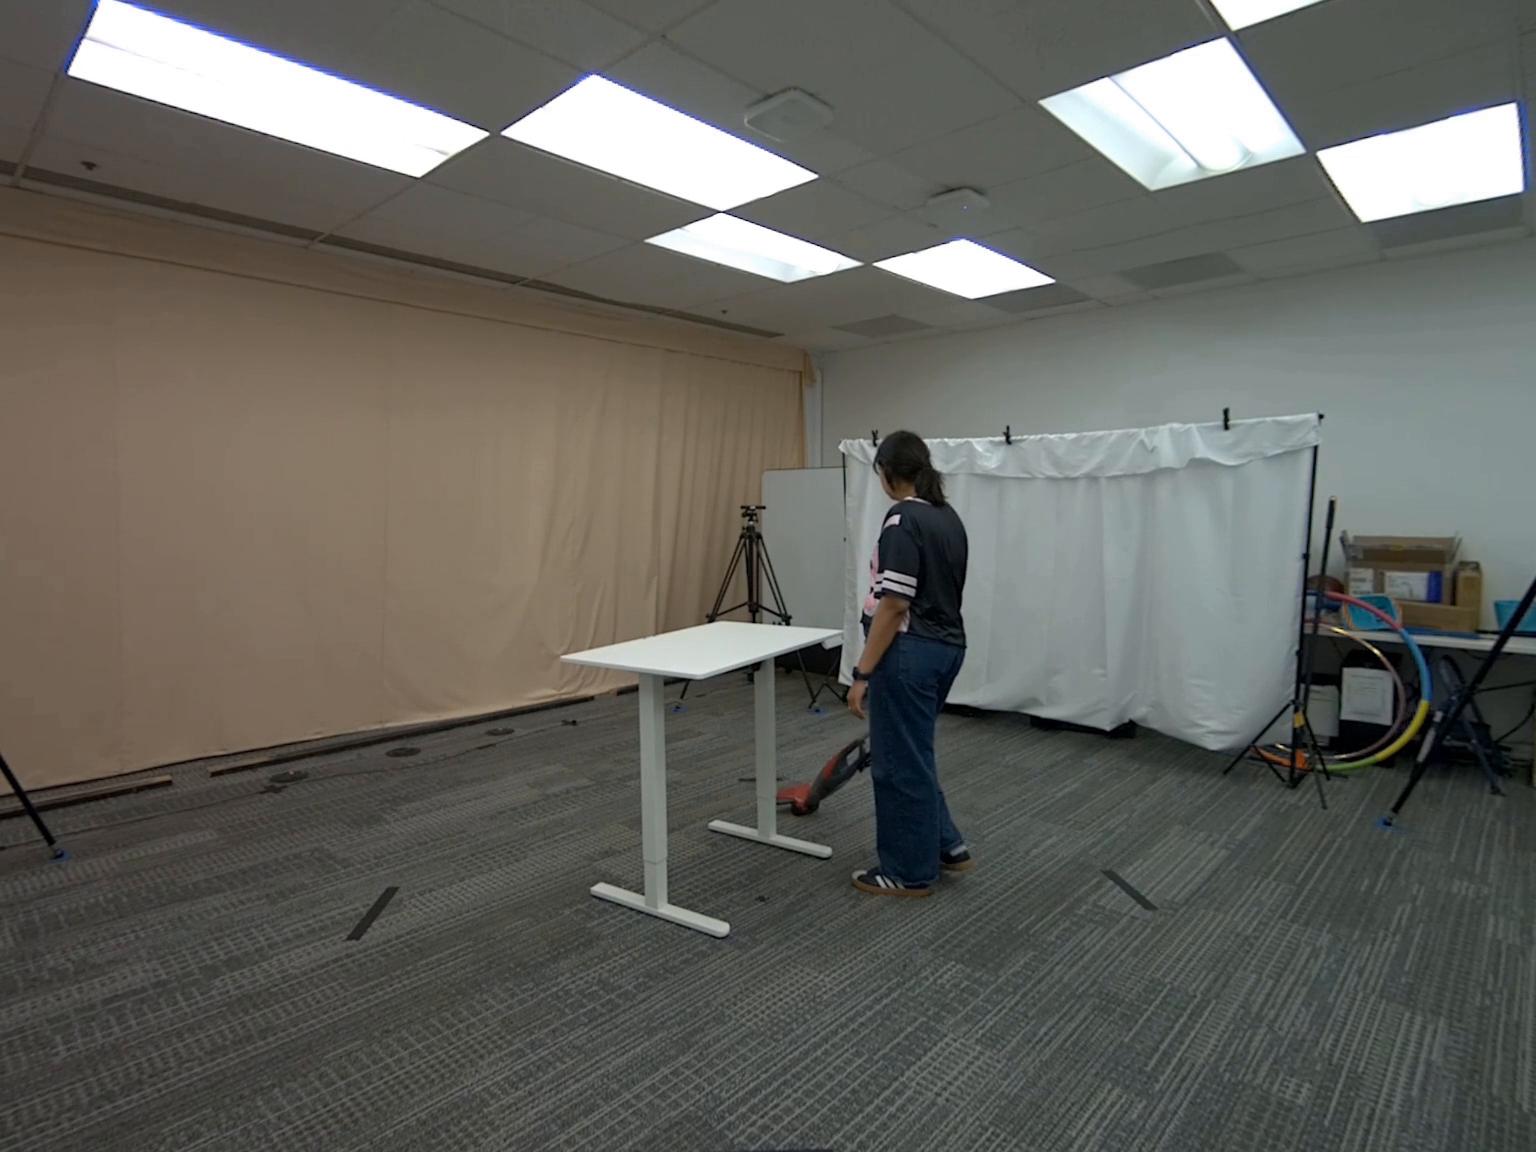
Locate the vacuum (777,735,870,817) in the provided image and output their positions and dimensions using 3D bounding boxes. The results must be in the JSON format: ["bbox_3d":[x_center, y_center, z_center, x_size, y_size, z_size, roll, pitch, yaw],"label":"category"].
[{"bbox_3d":[0.406,0.728,3.553,0.245,0.147,1.056,-7,-31,-44],"label":"vacuum"}]
